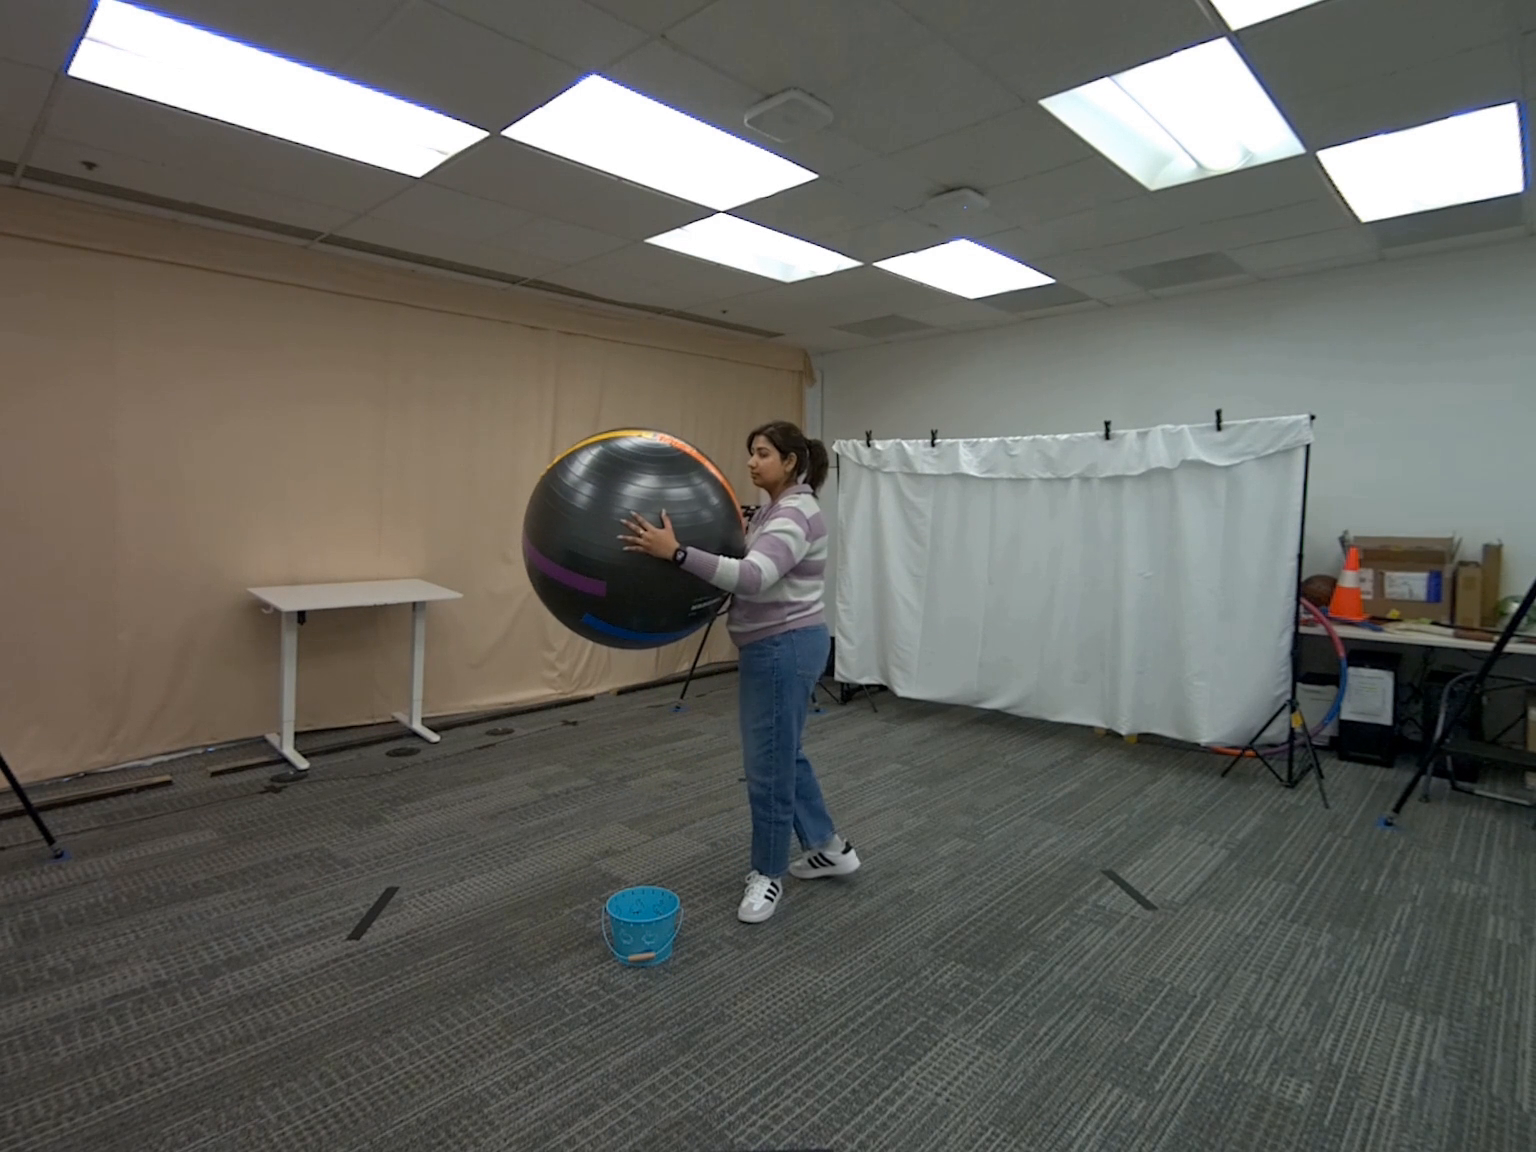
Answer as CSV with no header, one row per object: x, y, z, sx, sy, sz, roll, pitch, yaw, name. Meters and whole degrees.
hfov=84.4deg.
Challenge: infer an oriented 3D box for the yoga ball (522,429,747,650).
-0.461,-0.125,2.892,0.757,0.756,0.761,0,4,-2,yoga ball
